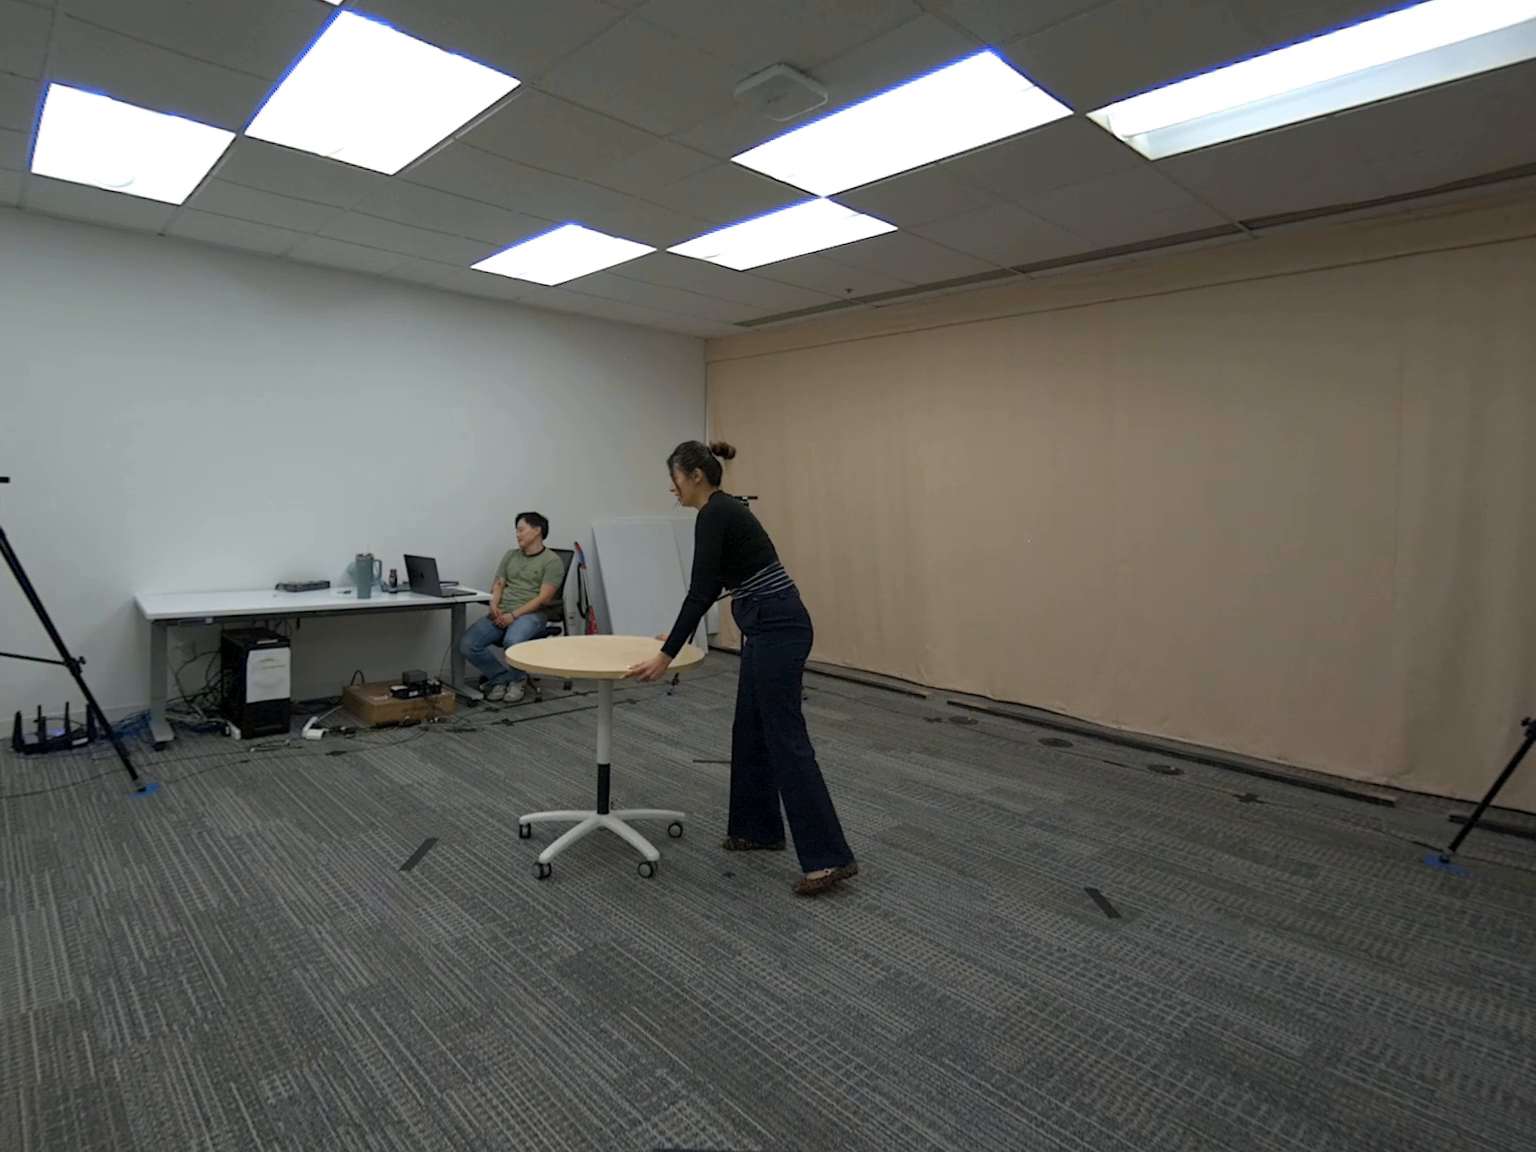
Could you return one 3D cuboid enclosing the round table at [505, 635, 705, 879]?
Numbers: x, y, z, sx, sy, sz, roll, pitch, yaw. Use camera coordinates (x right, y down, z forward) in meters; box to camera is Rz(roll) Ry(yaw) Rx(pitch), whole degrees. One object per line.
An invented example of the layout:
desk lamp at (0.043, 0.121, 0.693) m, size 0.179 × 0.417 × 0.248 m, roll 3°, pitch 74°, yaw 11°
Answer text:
round table at (-0.643, 0.682, 3.295) m, size 0.763 × 0.792 × 0.766 m, roll 1°, pitch 4°, yaw -1°
